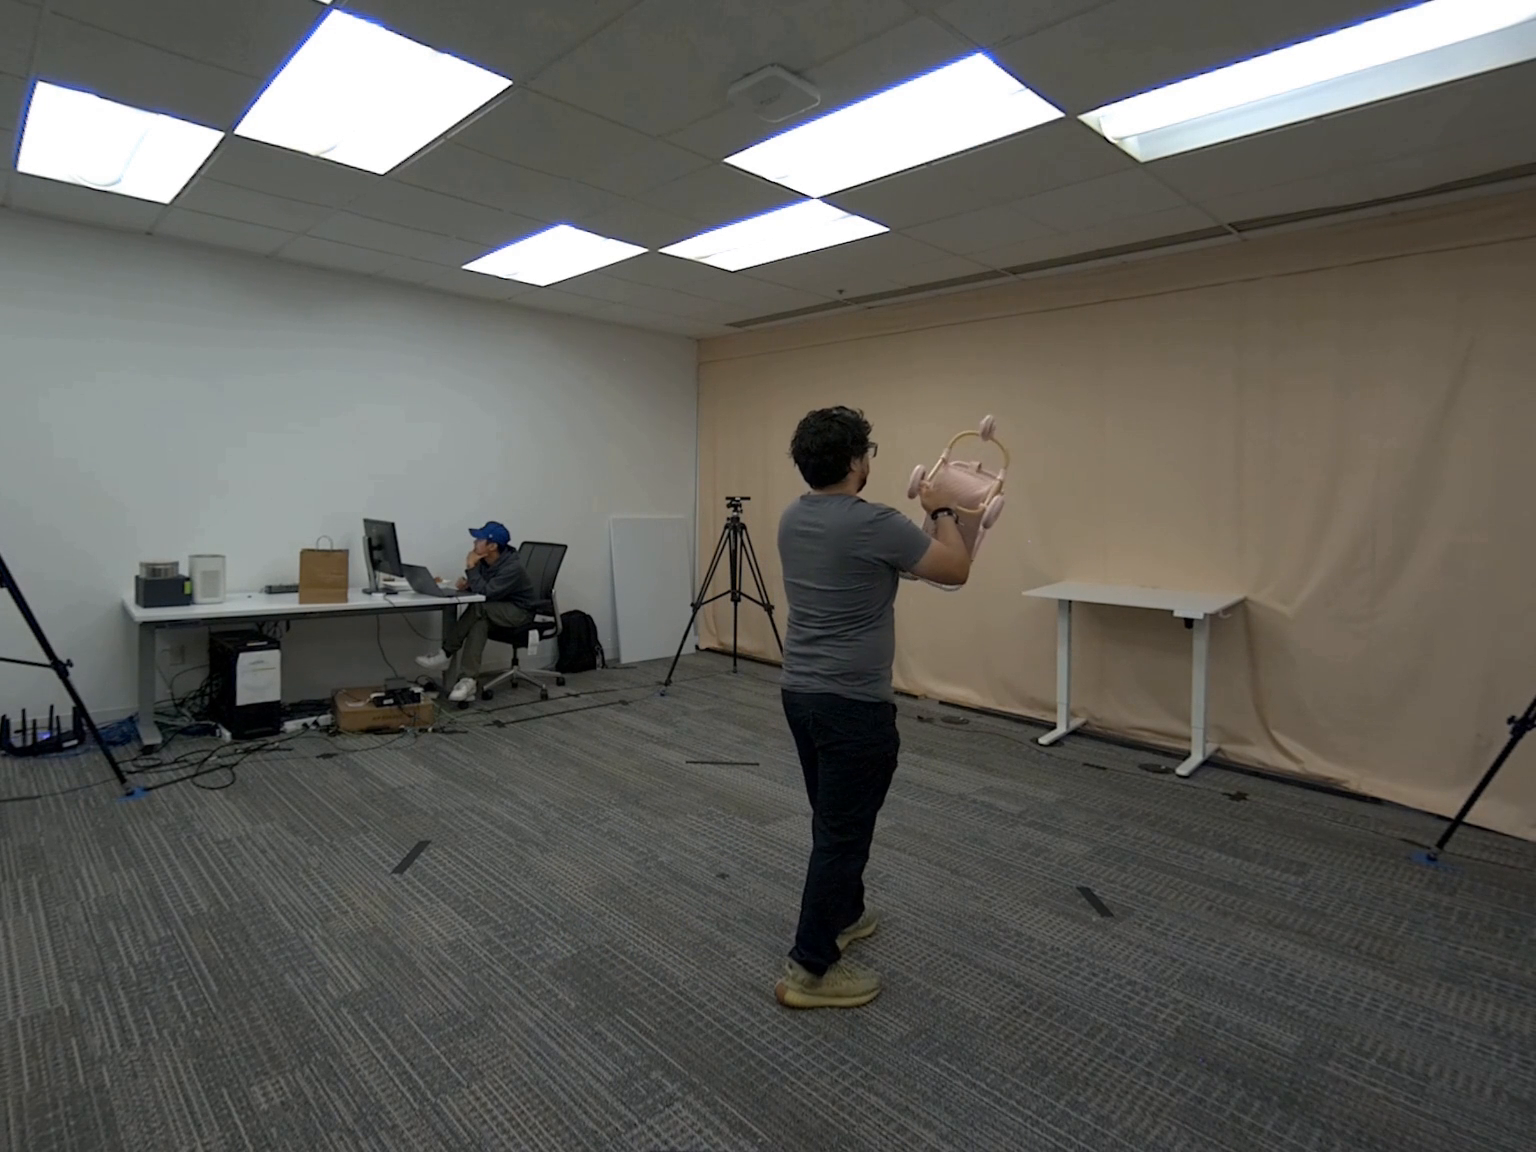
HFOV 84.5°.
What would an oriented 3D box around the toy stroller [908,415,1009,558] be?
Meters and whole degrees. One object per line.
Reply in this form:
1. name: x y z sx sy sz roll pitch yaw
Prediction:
1. toy stroller: 0.615 -0.236 2.724 0.287 0.343 0.522 20 -32 18
